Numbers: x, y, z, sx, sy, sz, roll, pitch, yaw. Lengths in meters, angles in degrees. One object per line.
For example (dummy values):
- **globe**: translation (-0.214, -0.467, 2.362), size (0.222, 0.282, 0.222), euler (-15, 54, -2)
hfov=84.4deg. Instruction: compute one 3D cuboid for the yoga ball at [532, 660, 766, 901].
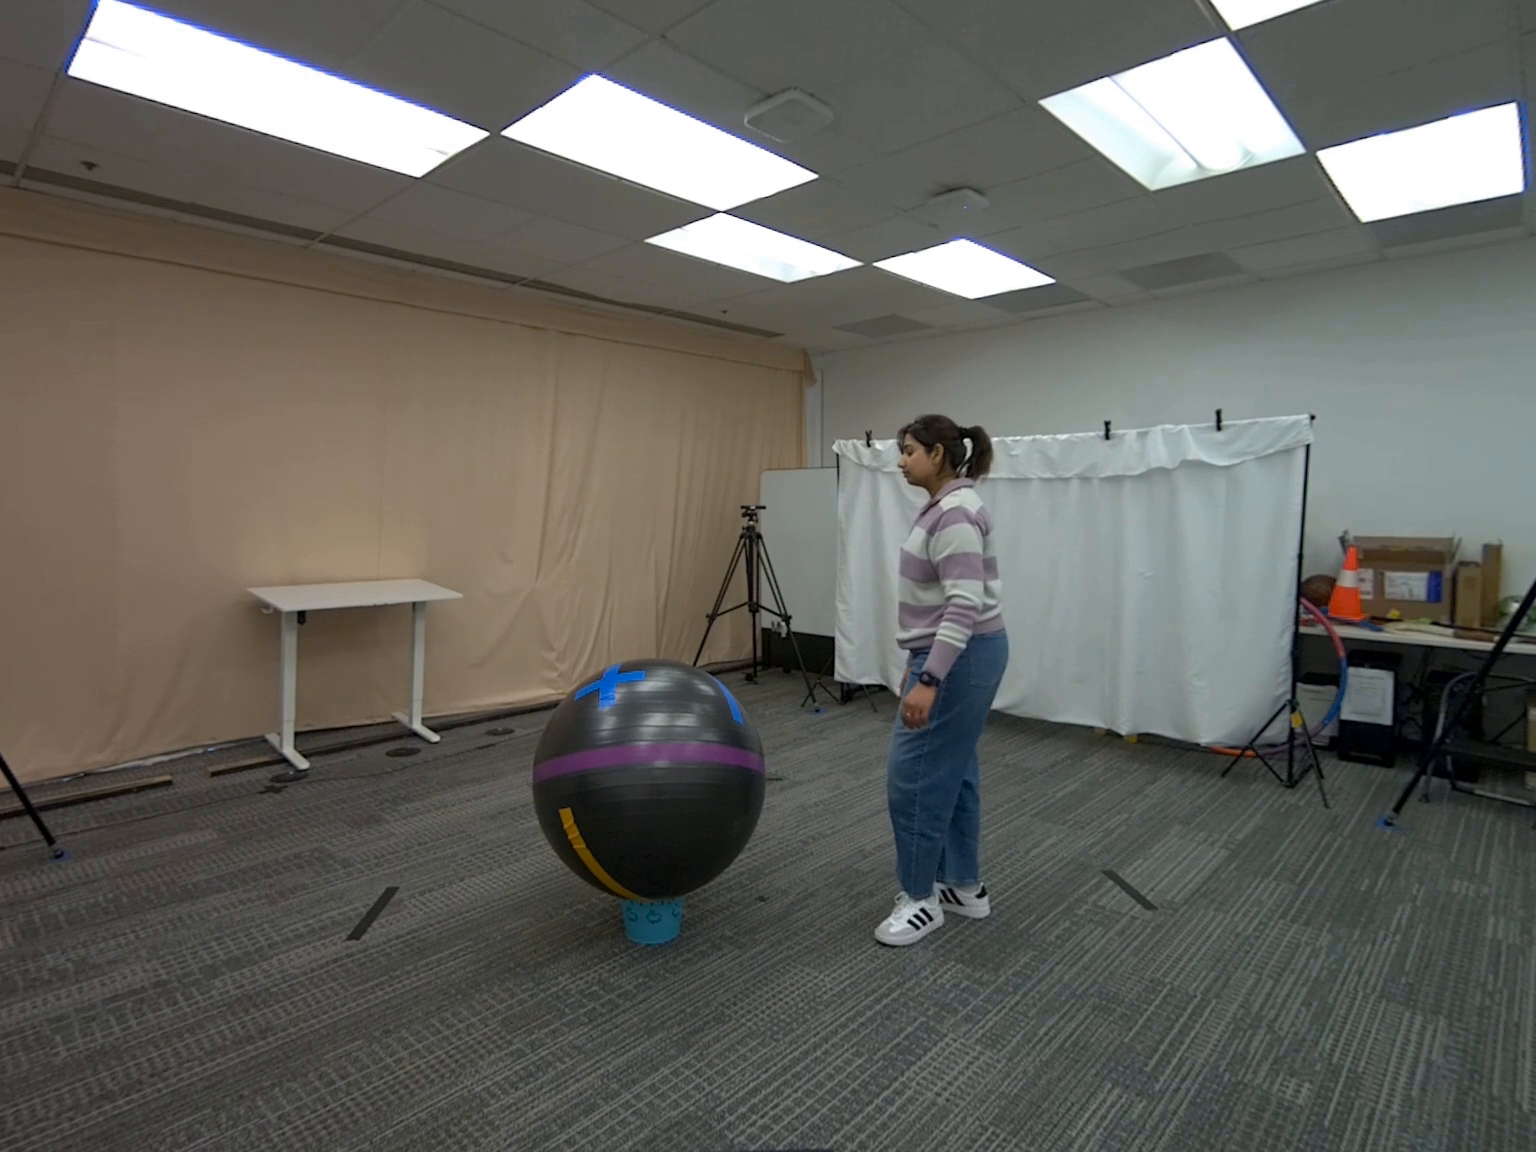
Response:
- **yoga ball**: translation (-0.383, 0.659, 2.761), size (0.757, 0.756, 0.760), euler (0, 4, -2)
